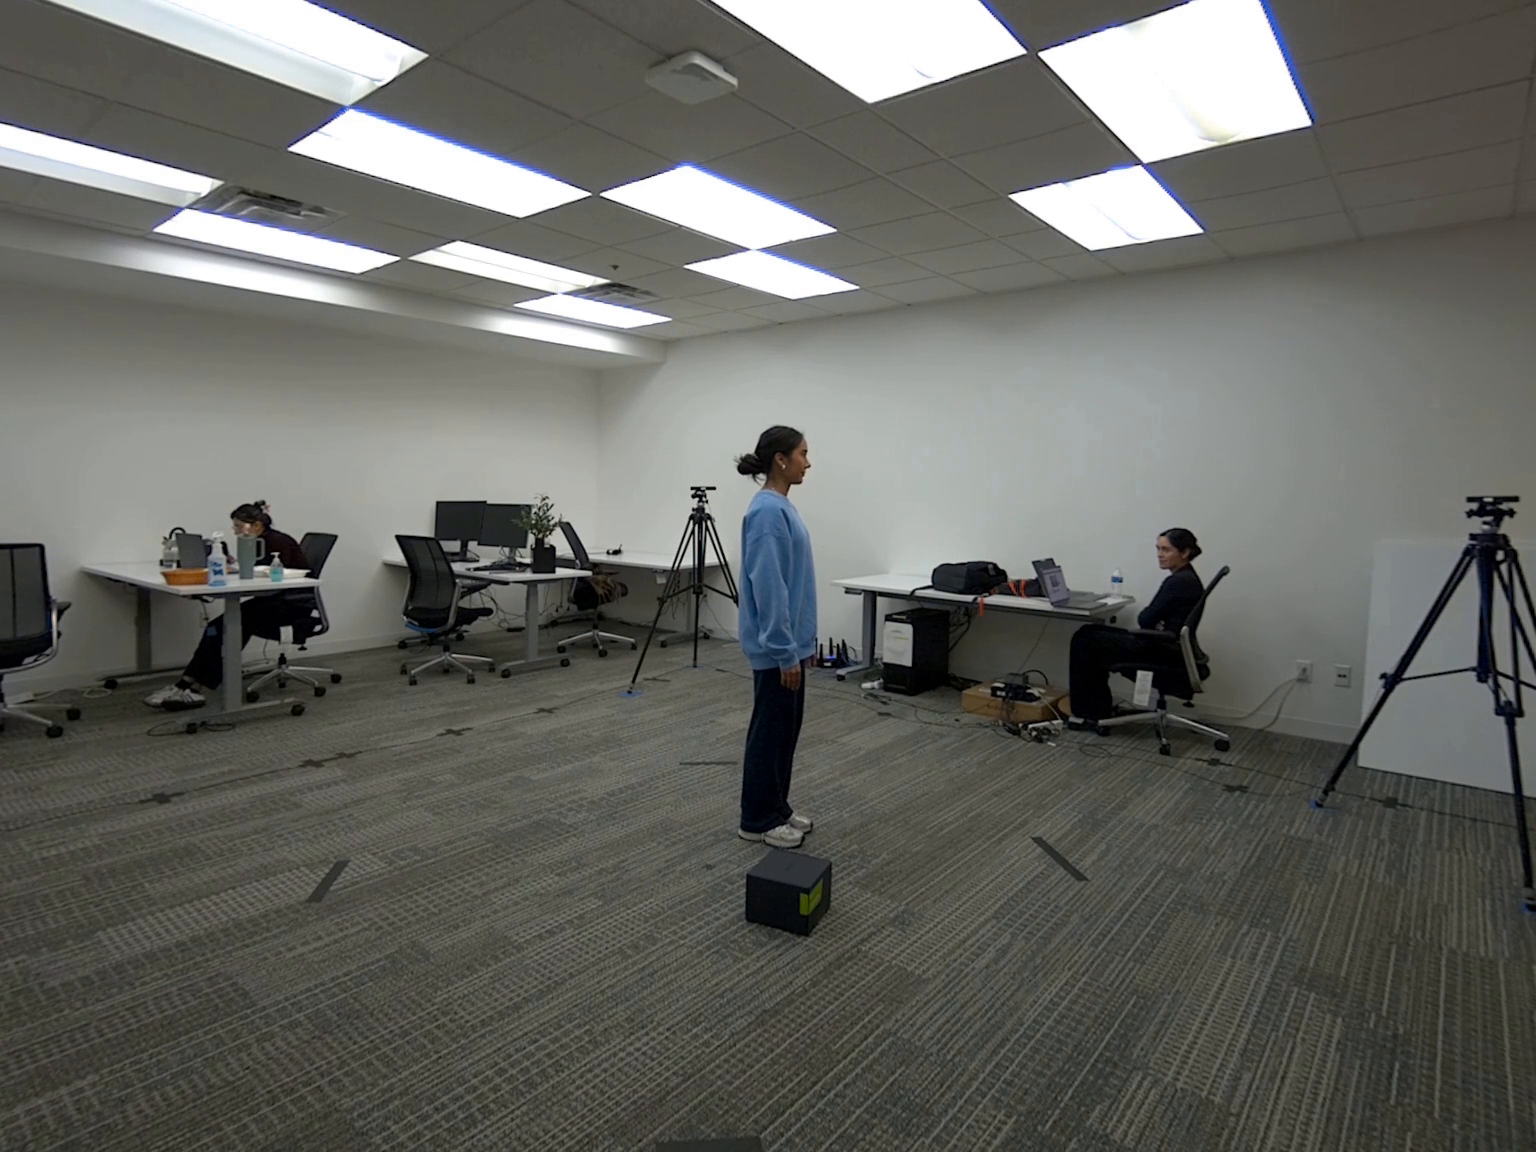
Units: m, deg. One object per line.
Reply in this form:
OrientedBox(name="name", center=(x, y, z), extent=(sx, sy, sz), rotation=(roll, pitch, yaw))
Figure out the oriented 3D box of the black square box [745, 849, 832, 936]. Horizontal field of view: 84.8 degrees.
OrientedBox(name="black square box", center=(0.063, 1.018, 2.777), extent=(0.222, 0.155, 0.223), rotation=(4, 5, 24))
